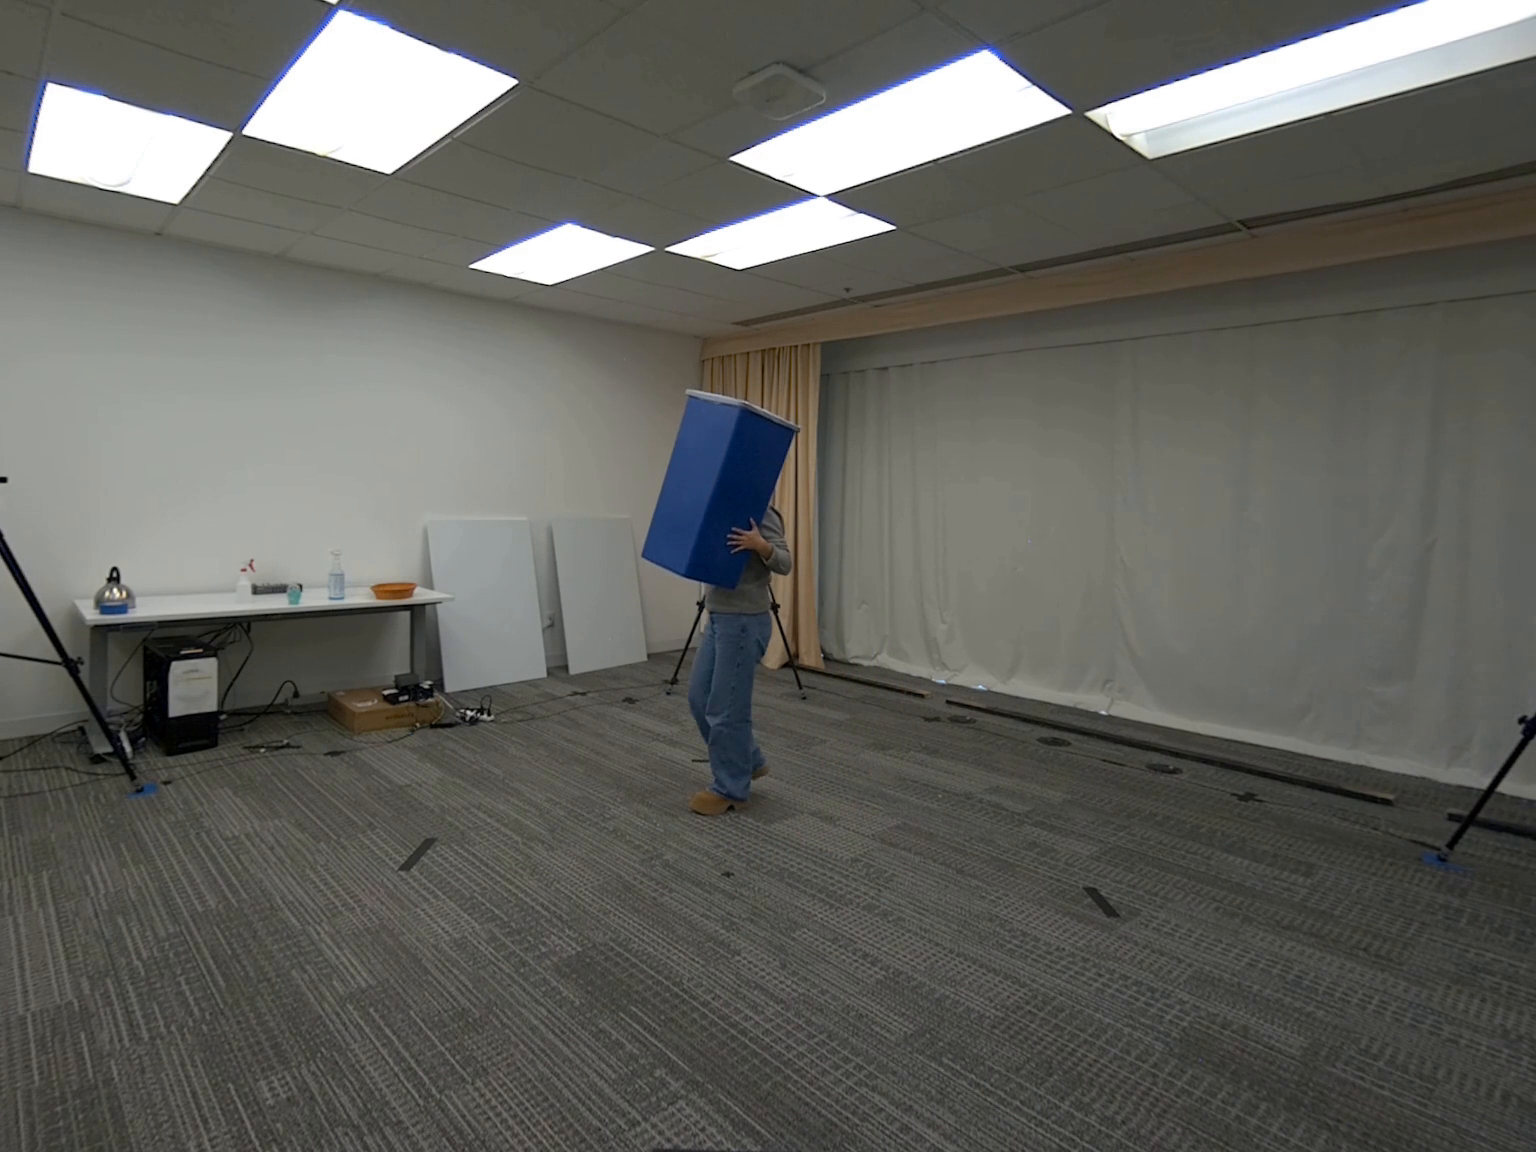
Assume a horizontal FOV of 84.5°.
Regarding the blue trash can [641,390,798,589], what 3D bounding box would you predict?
[{"bbox_3d":[-0.219,-0.350,3.424,0.389,0.713,0.363,21,3,44],"label":"blue trash can"}]
